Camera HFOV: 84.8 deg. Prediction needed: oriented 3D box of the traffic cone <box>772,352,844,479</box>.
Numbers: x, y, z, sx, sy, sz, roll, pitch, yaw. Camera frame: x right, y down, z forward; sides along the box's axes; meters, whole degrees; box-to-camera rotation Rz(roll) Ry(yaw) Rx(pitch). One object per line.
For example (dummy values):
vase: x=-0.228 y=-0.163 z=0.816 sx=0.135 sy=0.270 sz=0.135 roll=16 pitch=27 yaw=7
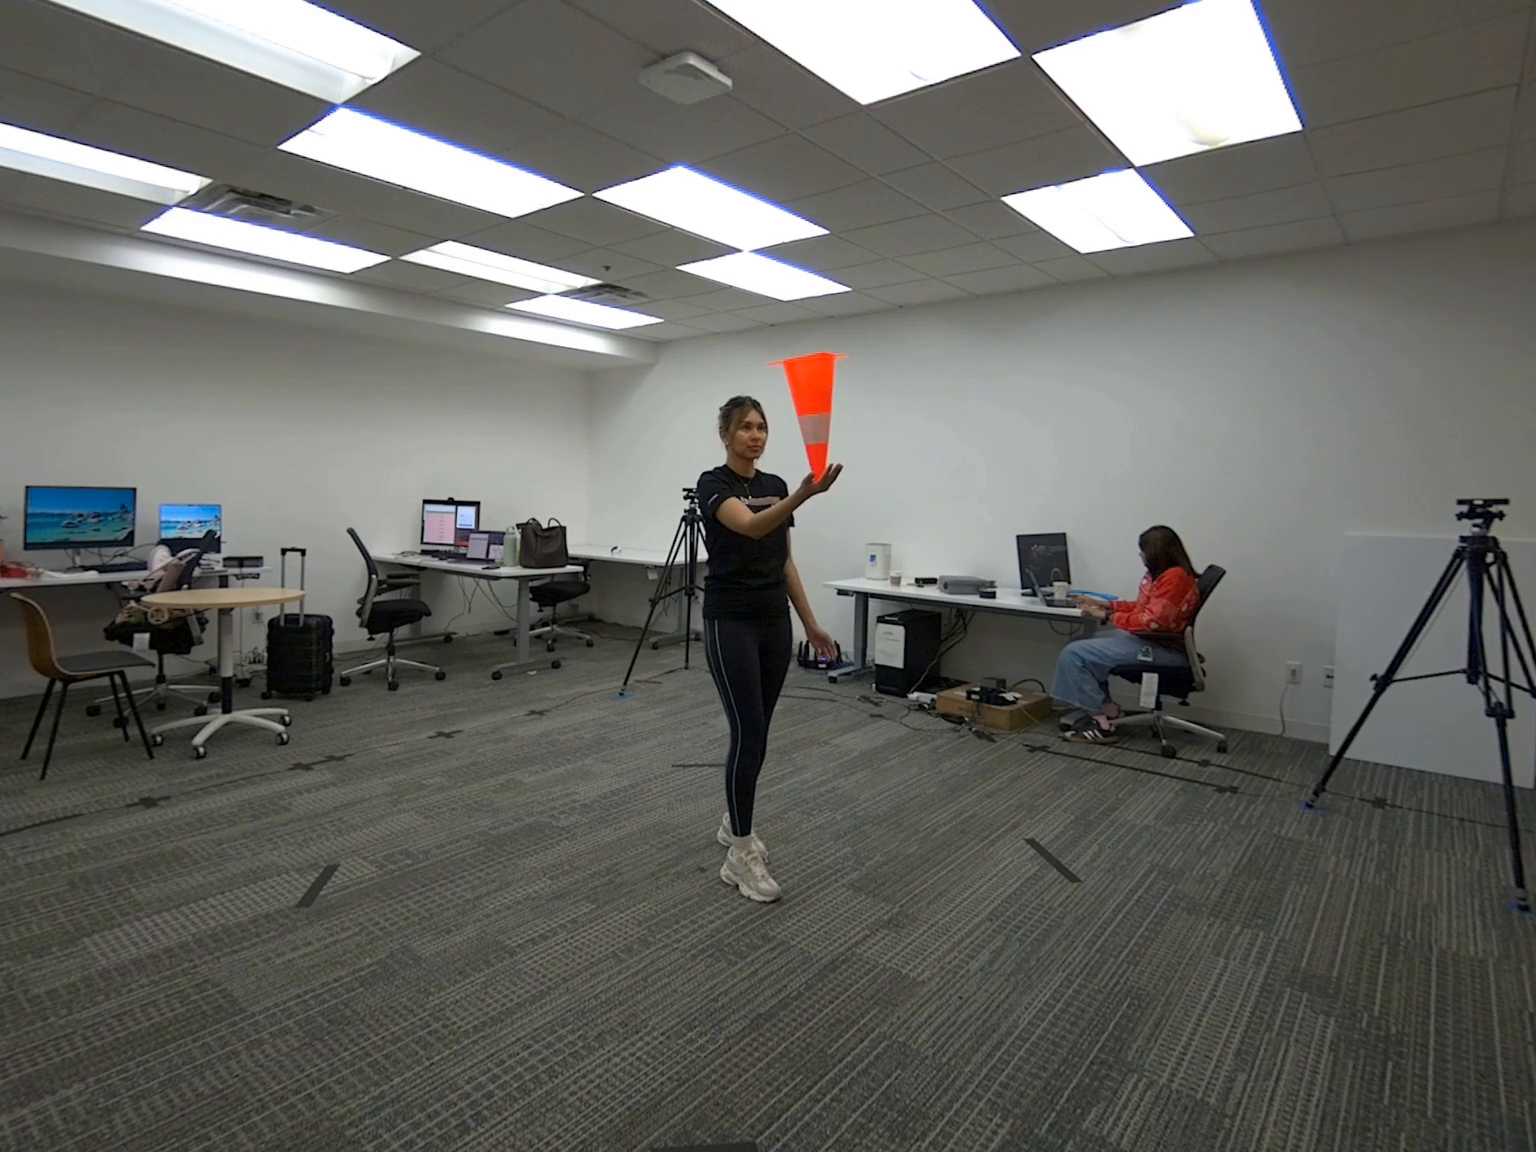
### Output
traffic cone: x=0.137 y=-0.470 z=2.587 sx=0.211 sy=0.382 sz=0.198 roll=-2 pitch=5 yaw=37
